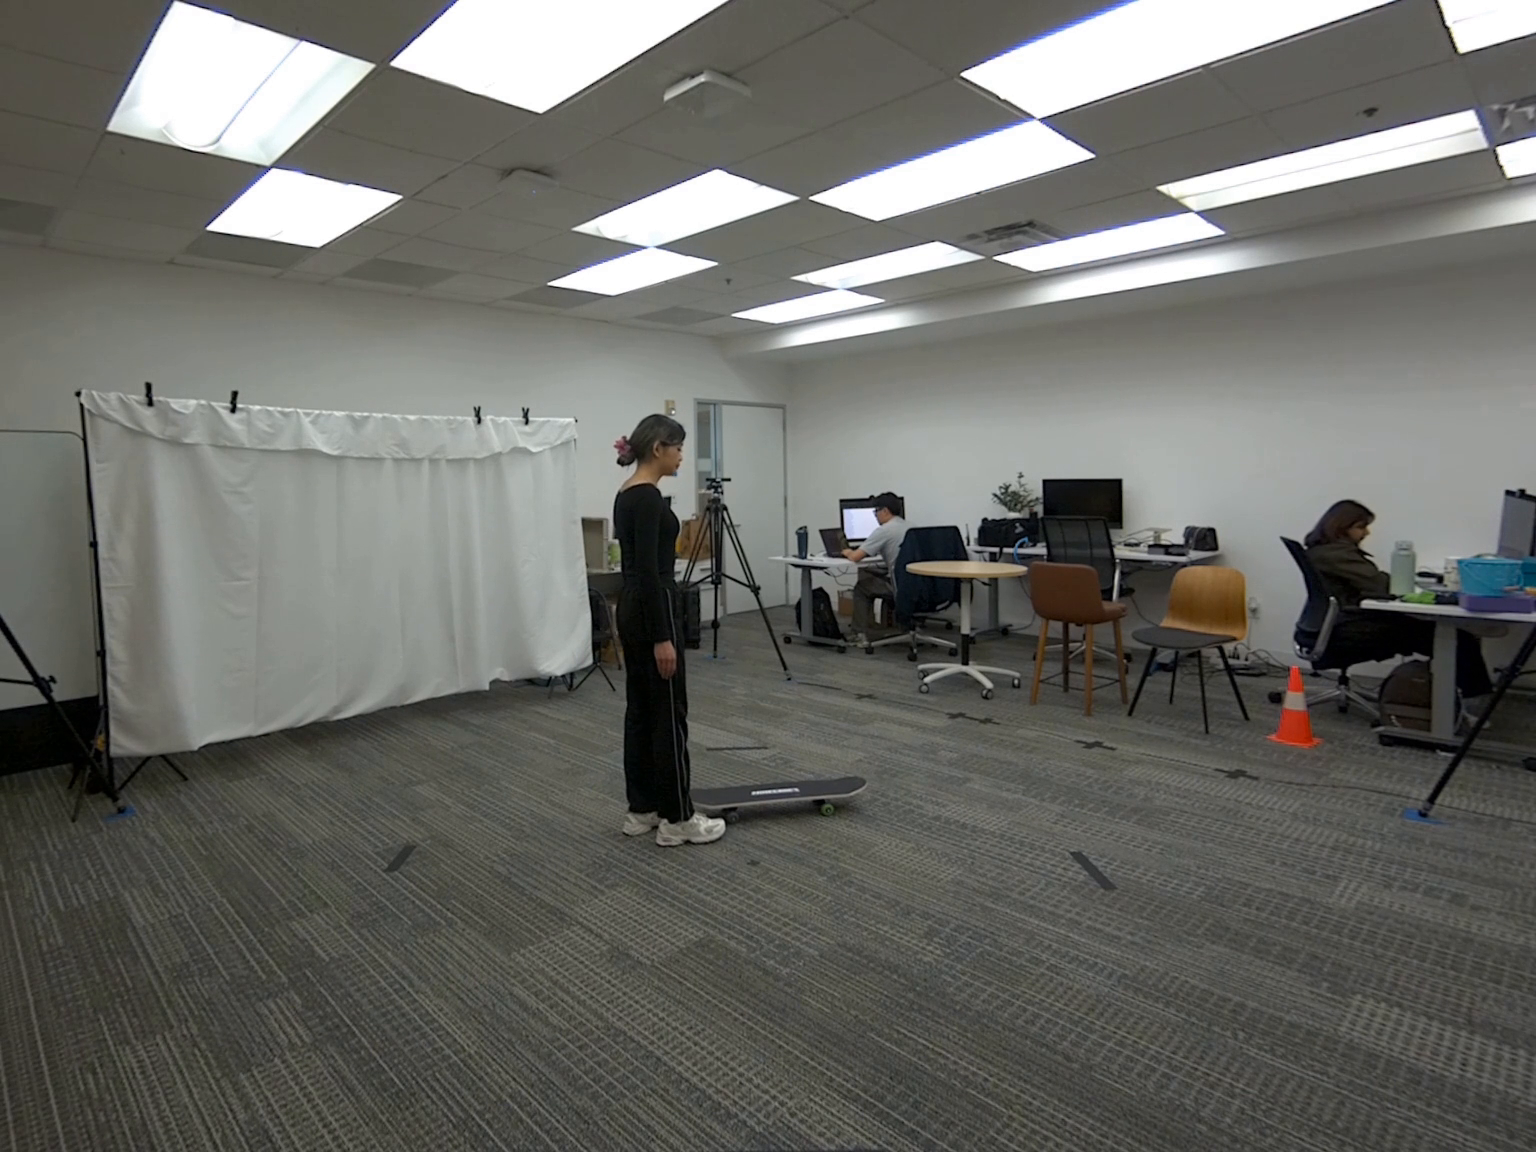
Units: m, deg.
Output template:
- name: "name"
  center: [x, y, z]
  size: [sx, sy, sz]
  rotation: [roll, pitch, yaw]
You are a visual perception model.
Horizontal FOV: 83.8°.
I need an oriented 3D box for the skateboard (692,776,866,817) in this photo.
- name: "skateboard"
  center: [0.033, 0.933, 3.573]
  size: [0.778, 0.110, 0.196]
  rotation: [-2, 7, -9]
